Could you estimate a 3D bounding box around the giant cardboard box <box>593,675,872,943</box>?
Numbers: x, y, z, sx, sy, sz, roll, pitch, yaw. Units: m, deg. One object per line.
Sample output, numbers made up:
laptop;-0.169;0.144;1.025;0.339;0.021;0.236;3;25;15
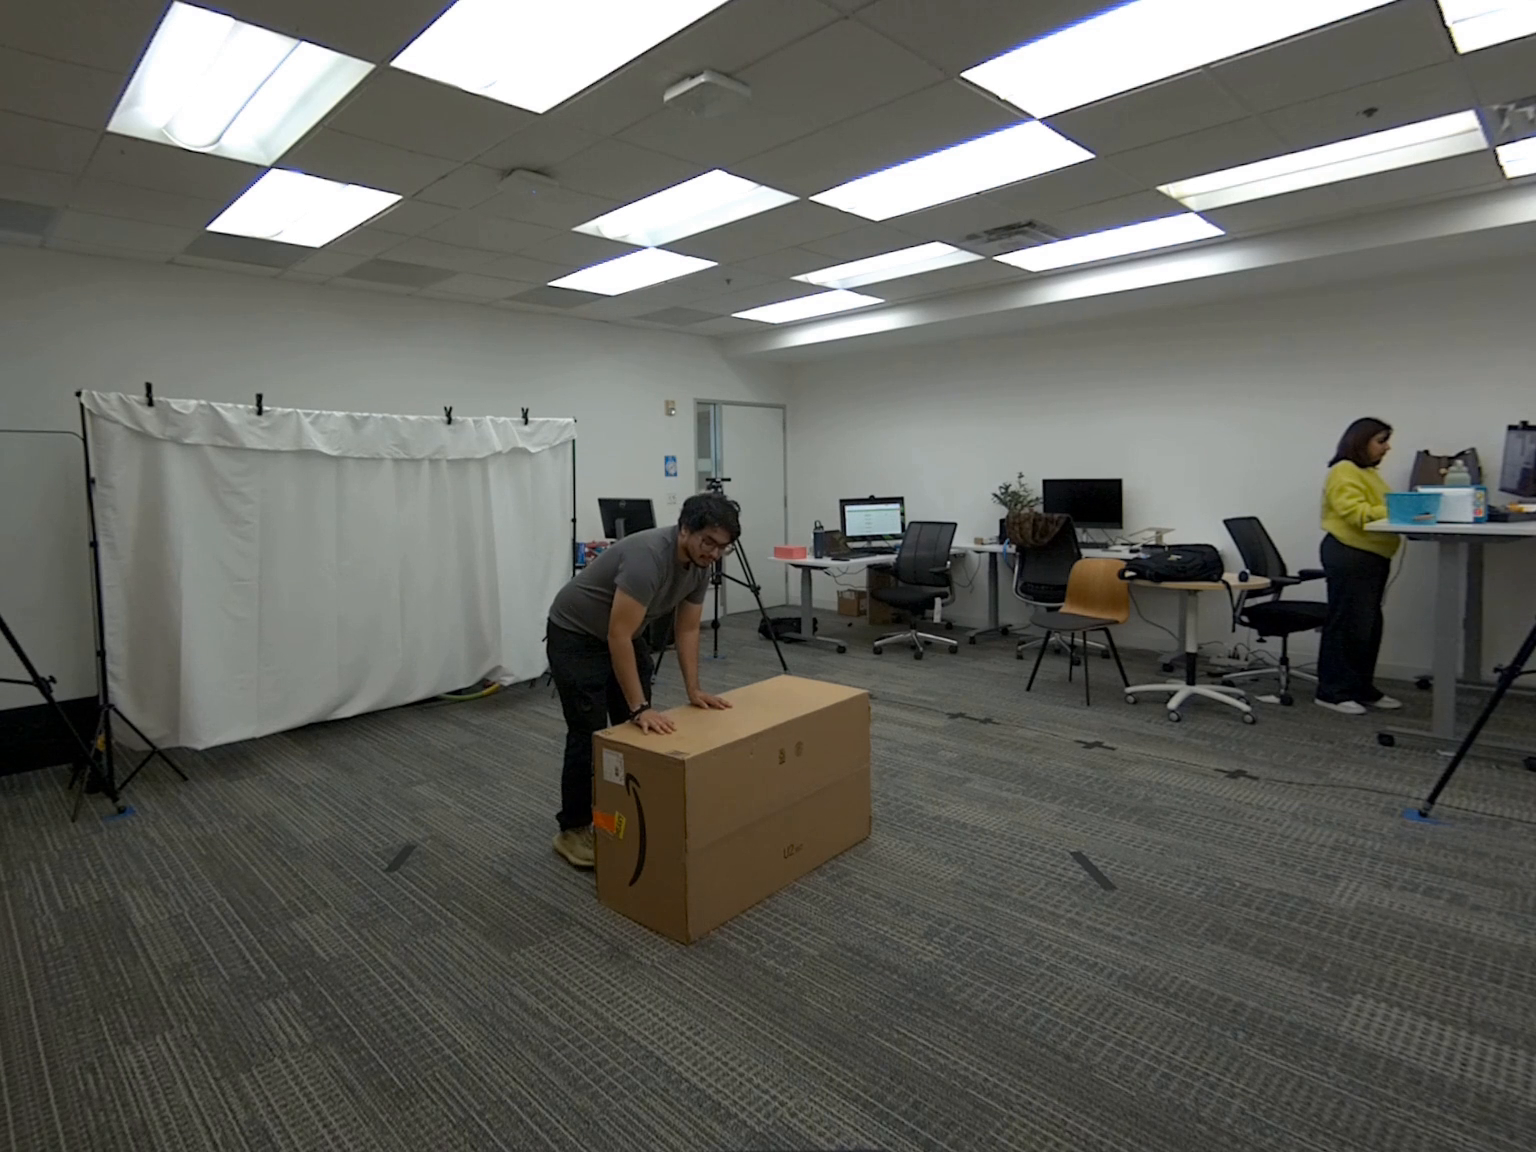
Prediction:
giant cardboard box;-0.091;0.759;3.061;0.439;0.575;1.000;2;7;40
